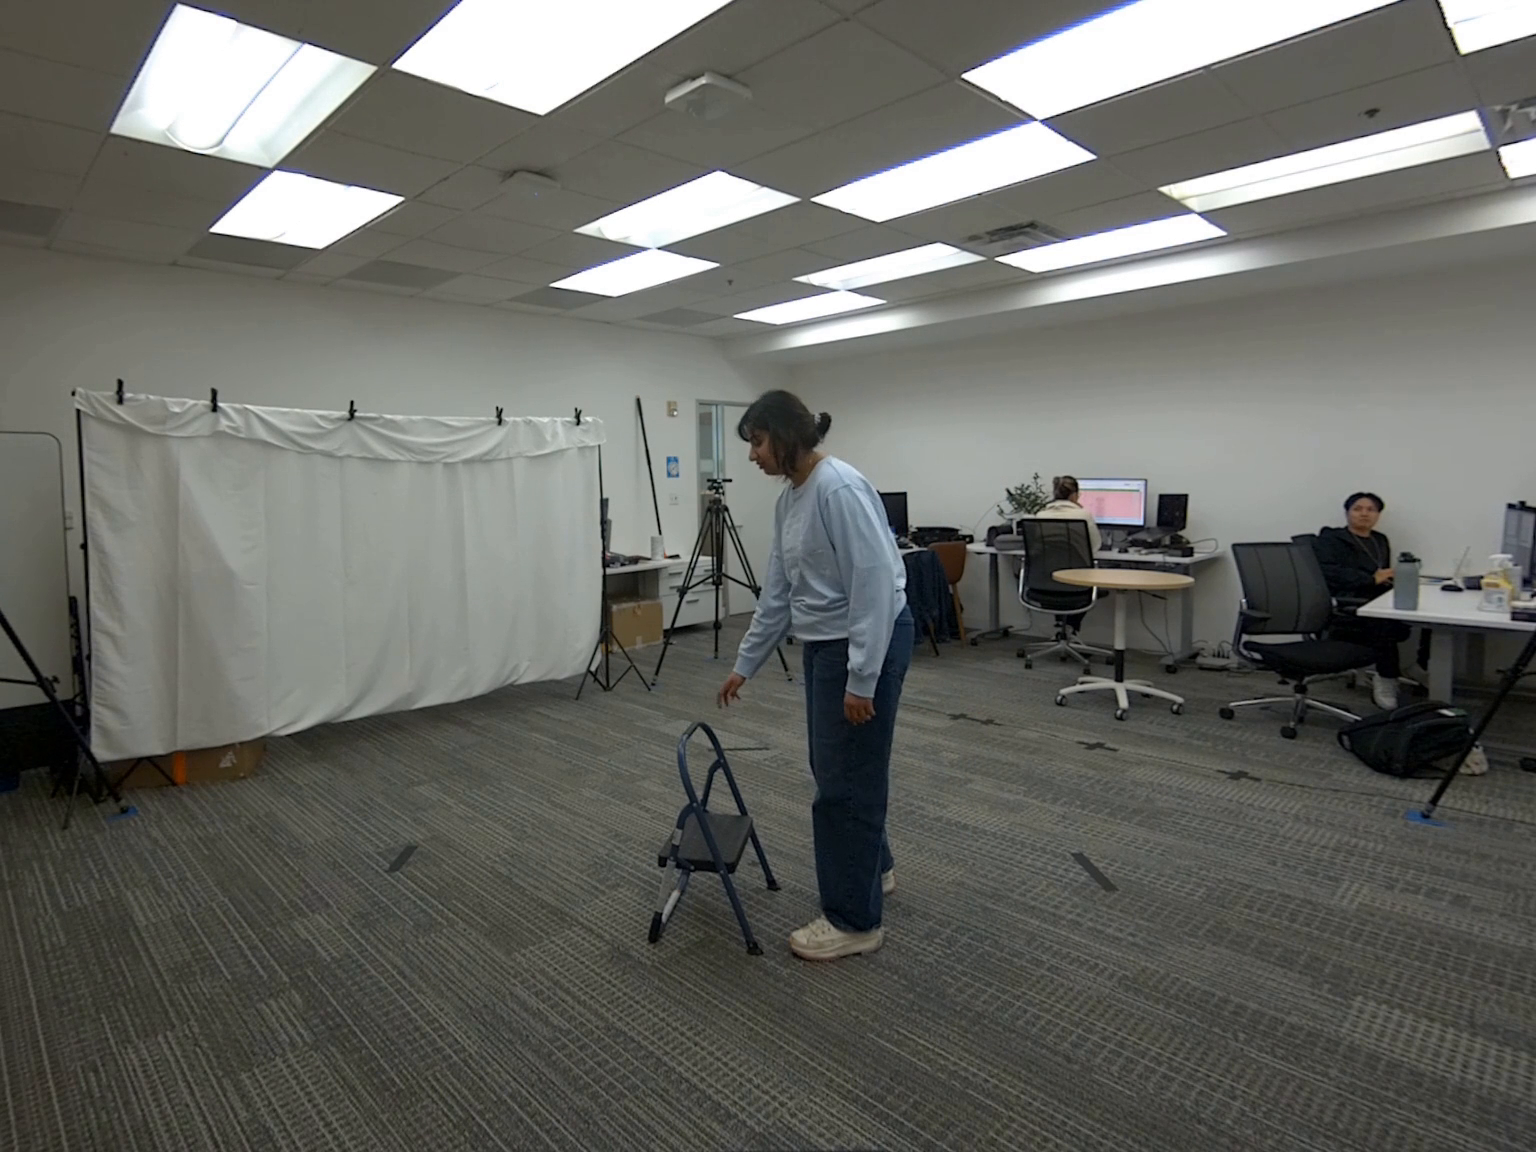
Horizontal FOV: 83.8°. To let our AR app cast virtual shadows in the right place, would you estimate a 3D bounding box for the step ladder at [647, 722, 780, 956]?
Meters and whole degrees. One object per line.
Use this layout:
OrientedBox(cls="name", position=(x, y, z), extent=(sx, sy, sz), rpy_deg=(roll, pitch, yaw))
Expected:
OrientedBox(cls="step ladder", position=(-0.161, 0.791, 2.728), extent=(0.353, 0.604, 0.427), rpy_deg=(1, 5, 10))
